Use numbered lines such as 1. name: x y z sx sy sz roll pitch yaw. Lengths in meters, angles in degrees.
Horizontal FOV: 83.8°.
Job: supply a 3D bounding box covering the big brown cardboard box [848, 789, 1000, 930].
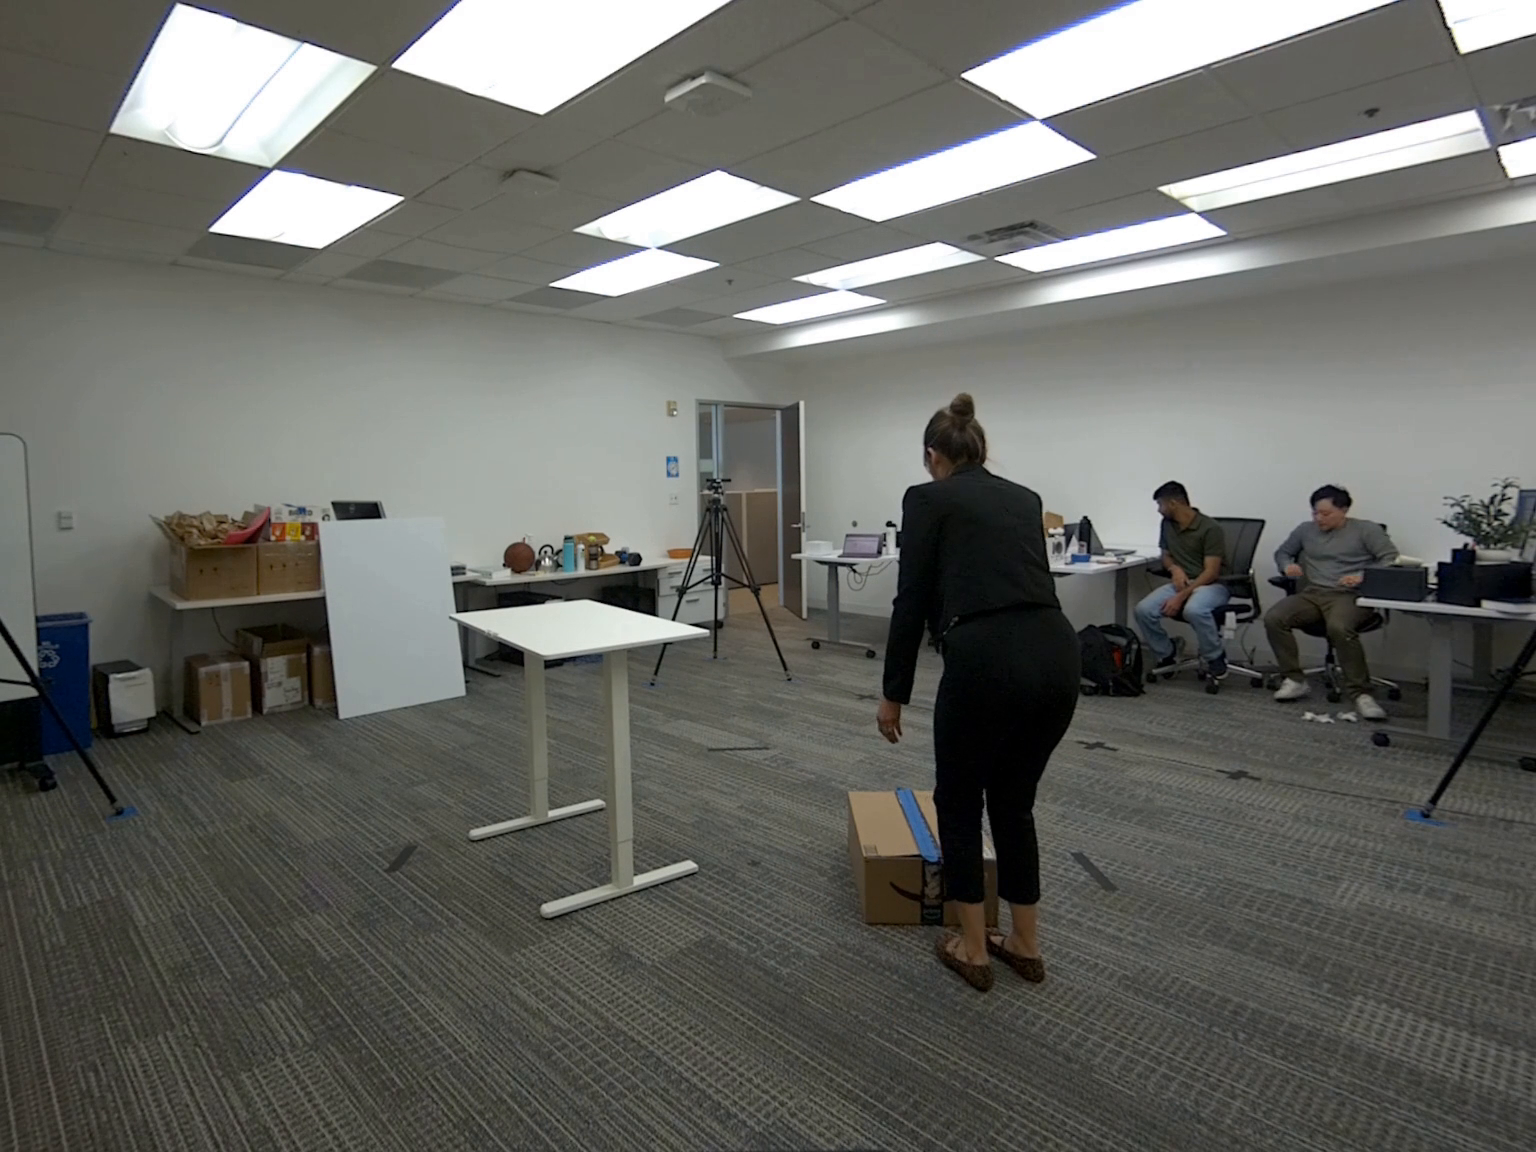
1. big brown cardboard box: 0.511 0.945 2.923 0.418 0.232 0.591 -1 6 0
